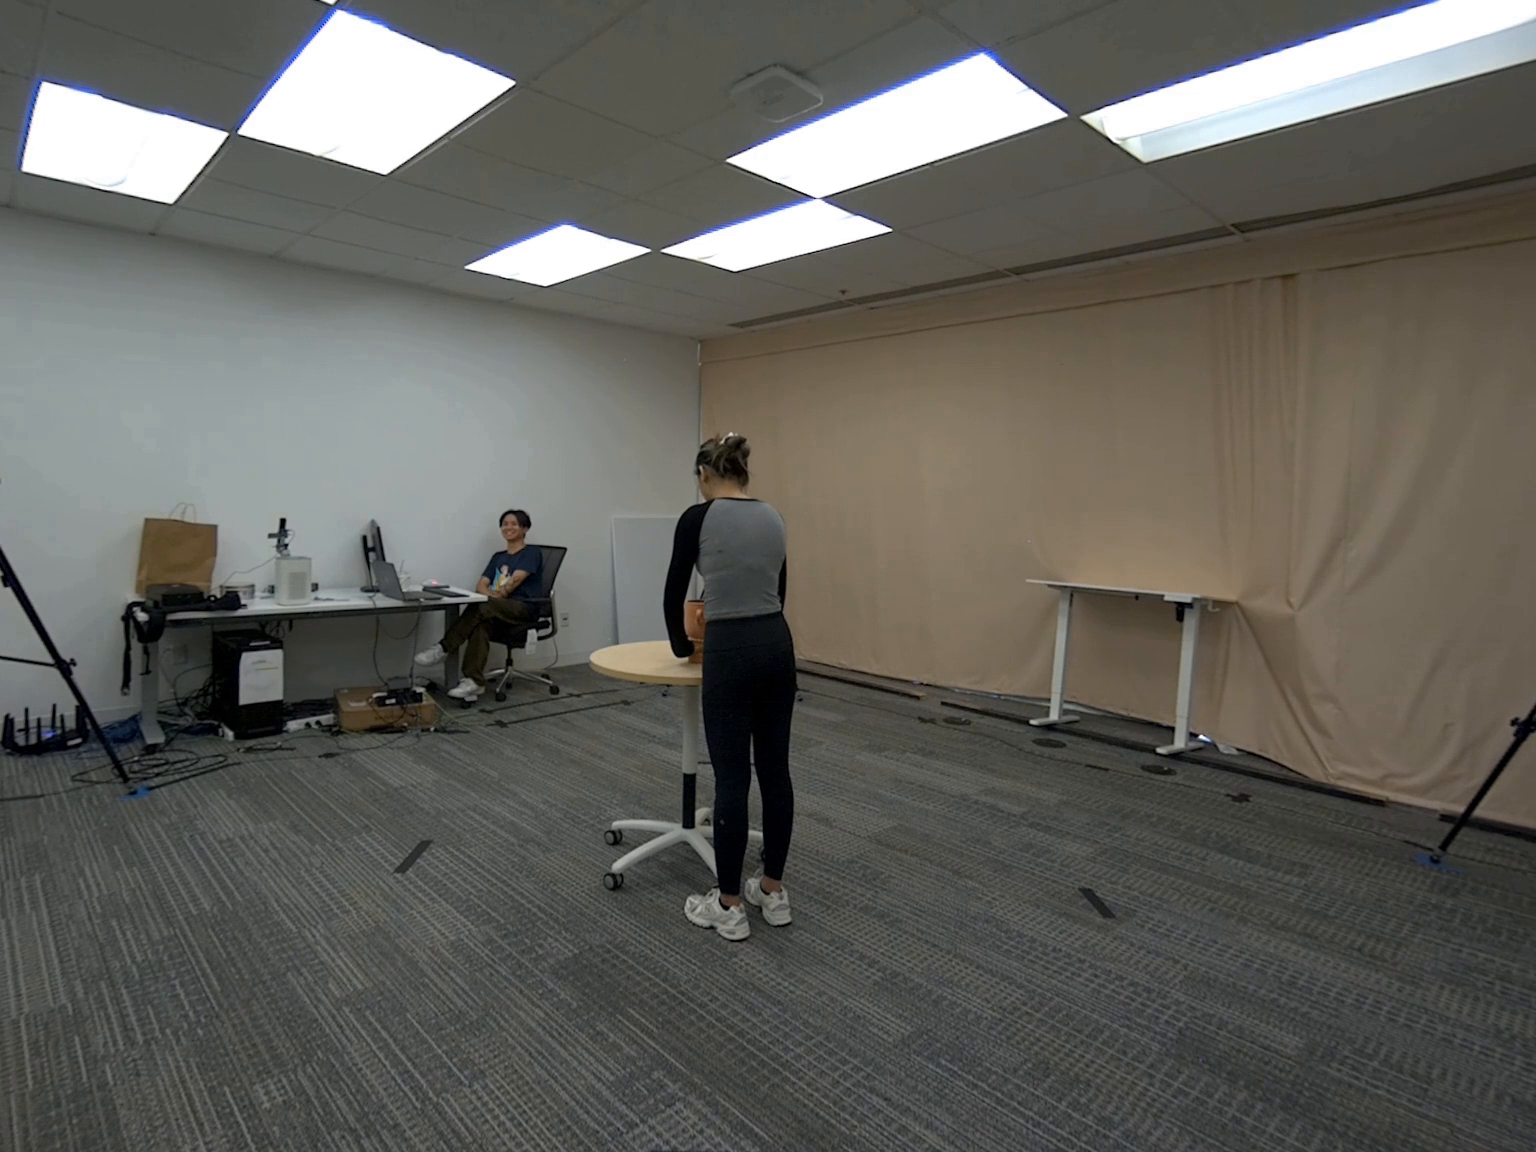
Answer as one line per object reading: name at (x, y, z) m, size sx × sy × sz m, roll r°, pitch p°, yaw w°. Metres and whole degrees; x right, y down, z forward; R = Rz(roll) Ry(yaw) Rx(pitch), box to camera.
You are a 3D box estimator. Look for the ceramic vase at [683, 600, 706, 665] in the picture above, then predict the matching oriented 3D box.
ceramic vase at (-0.245, 0.201, 3.078) m, size 0.138 × 0.219 × 0.155 m, roll 4°, pitch 4°, yaw 42°
